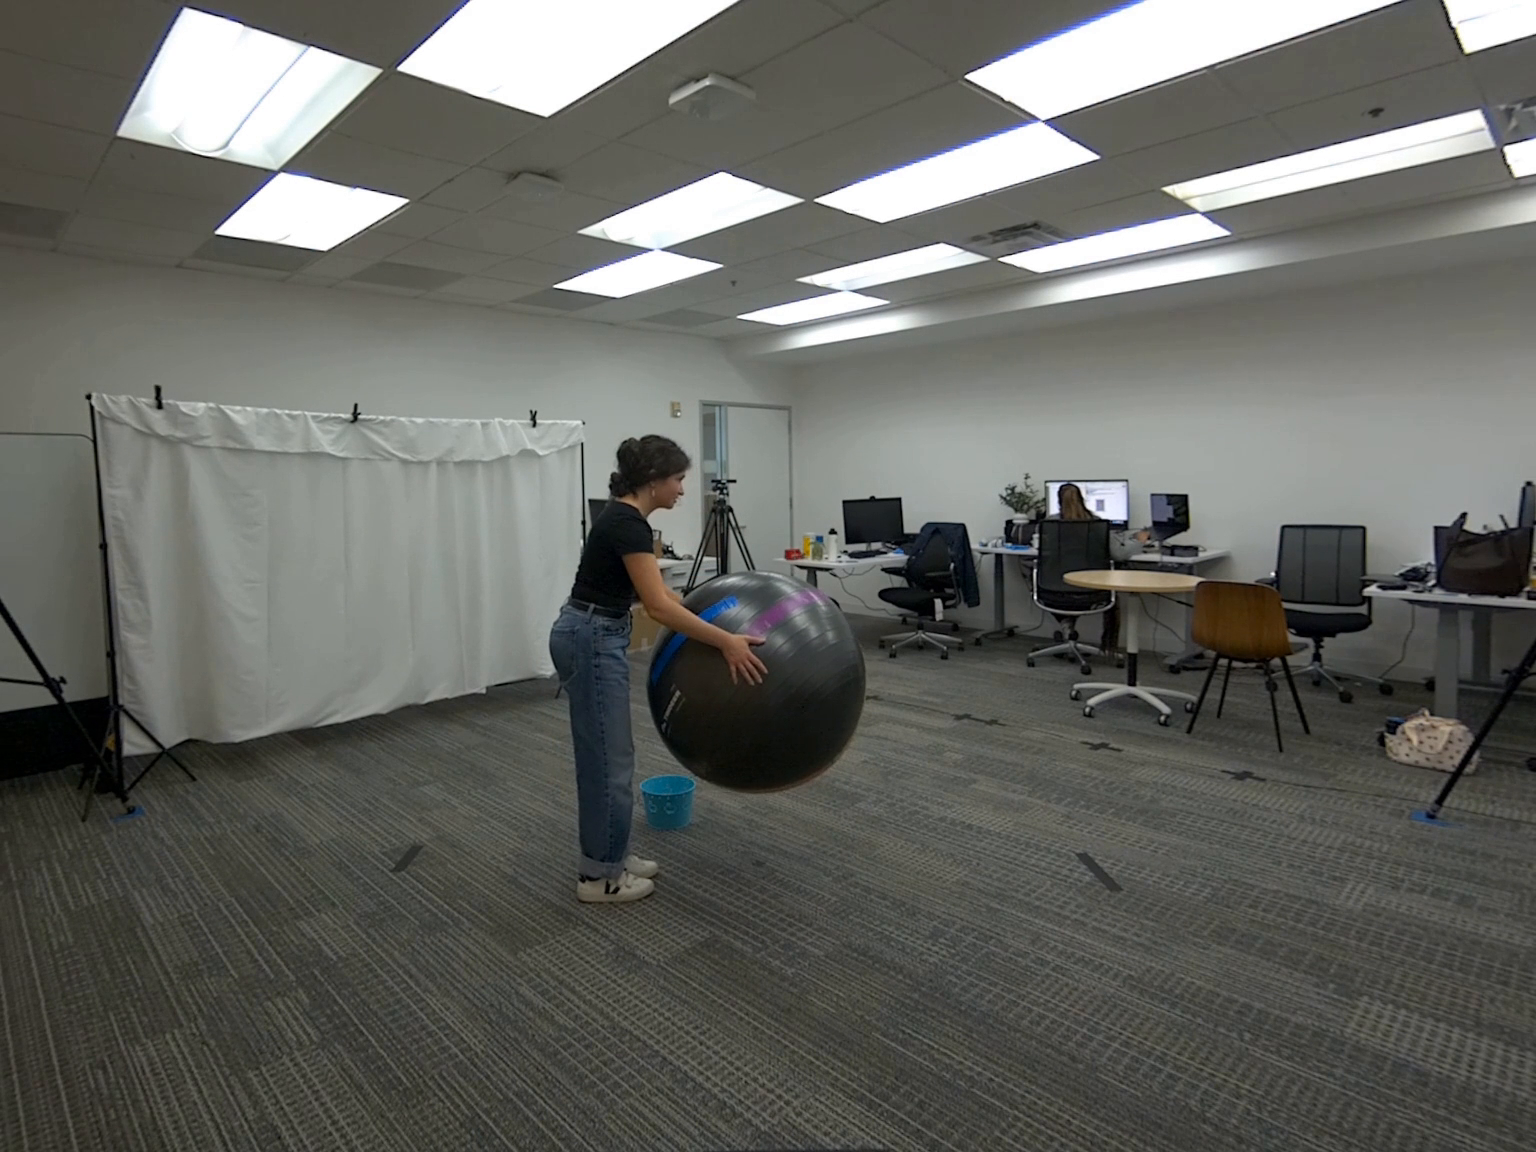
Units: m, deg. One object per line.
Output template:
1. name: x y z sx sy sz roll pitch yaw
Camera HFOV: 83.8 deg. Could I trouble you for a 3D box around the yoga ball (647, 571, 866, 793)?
1. yoga ball: -0.037 0.379 2.966 0.757 0.755 0.762 -1 5 -2
